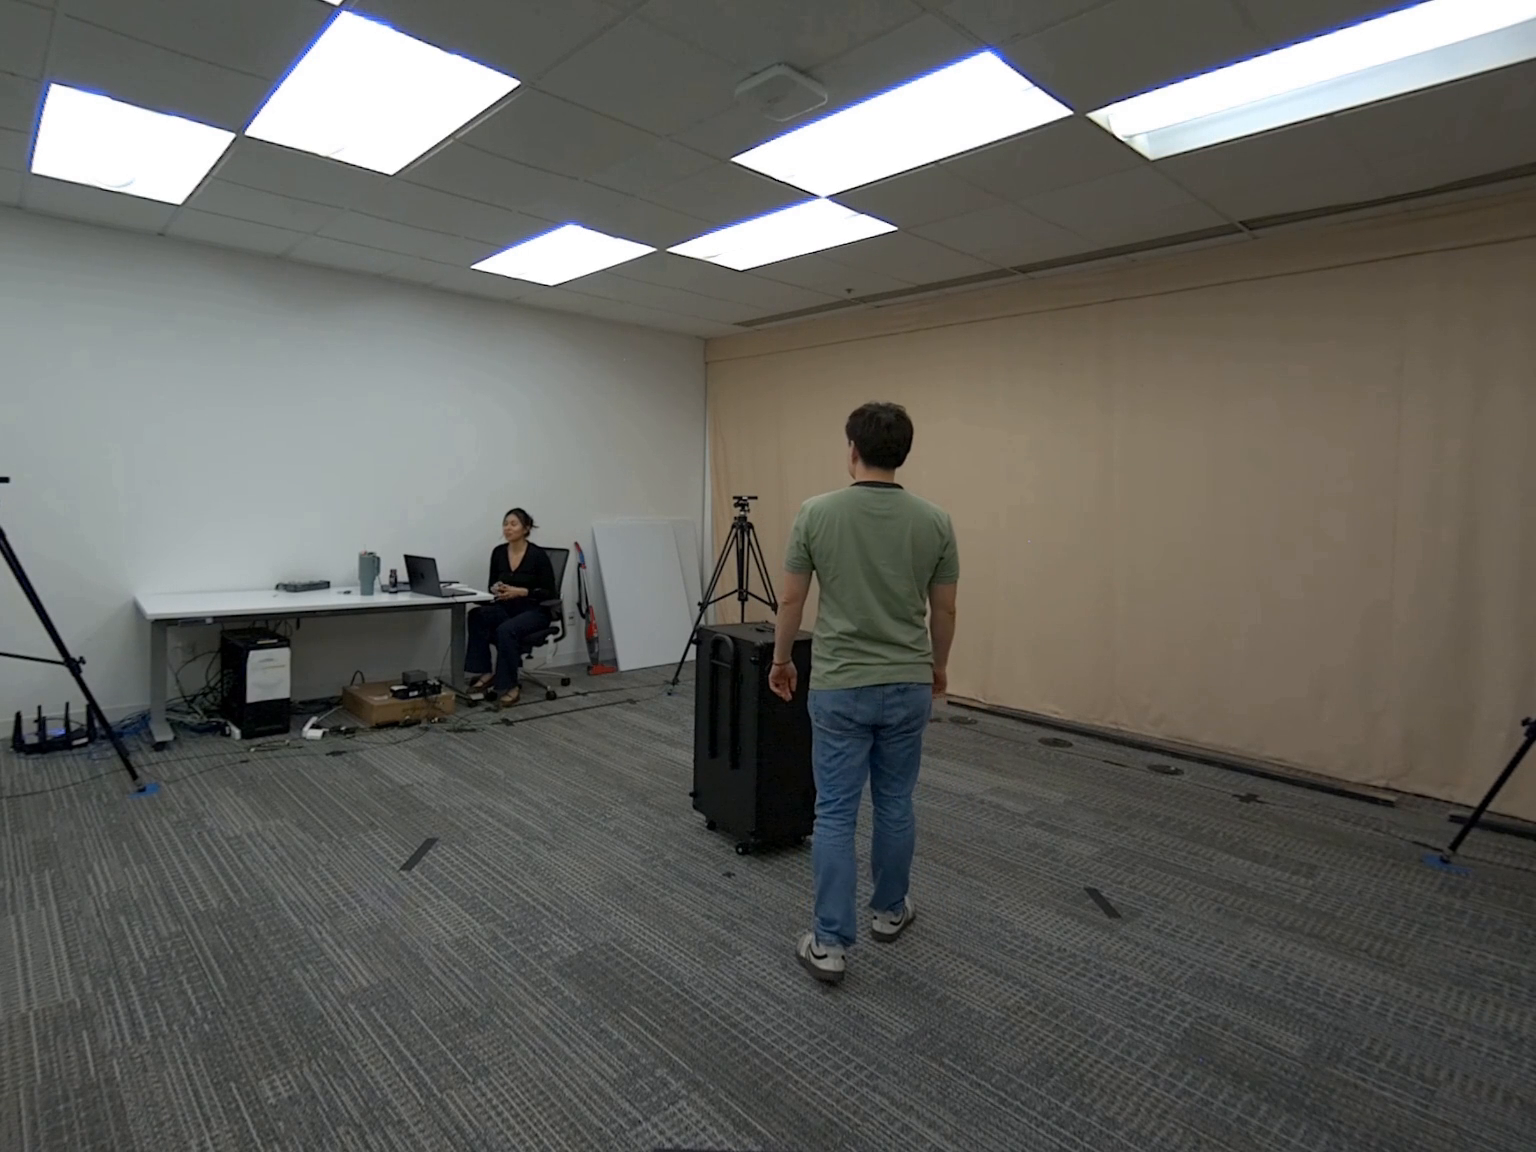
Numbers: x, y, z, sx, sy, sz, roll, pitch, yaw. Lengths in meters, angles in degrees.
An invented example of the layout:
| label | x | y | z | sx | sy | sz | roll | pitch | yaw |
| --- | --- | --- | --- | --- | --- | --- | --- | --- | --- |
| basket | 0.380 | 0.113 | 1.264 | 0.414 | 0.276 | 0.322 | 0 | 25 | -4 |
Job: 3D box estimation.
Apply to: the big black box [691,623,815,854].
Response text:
| label | x | y | z | sx | sy | sz | roll | pitch | yaw |
| --- | --- | --- | --- | --- | --- | --- | --- | --- | --- |
| big black box | -0.046 | 0.651 | 3.441 | 0.388 | 0.859 | 0.533 | -1 | 4 | -33 |
